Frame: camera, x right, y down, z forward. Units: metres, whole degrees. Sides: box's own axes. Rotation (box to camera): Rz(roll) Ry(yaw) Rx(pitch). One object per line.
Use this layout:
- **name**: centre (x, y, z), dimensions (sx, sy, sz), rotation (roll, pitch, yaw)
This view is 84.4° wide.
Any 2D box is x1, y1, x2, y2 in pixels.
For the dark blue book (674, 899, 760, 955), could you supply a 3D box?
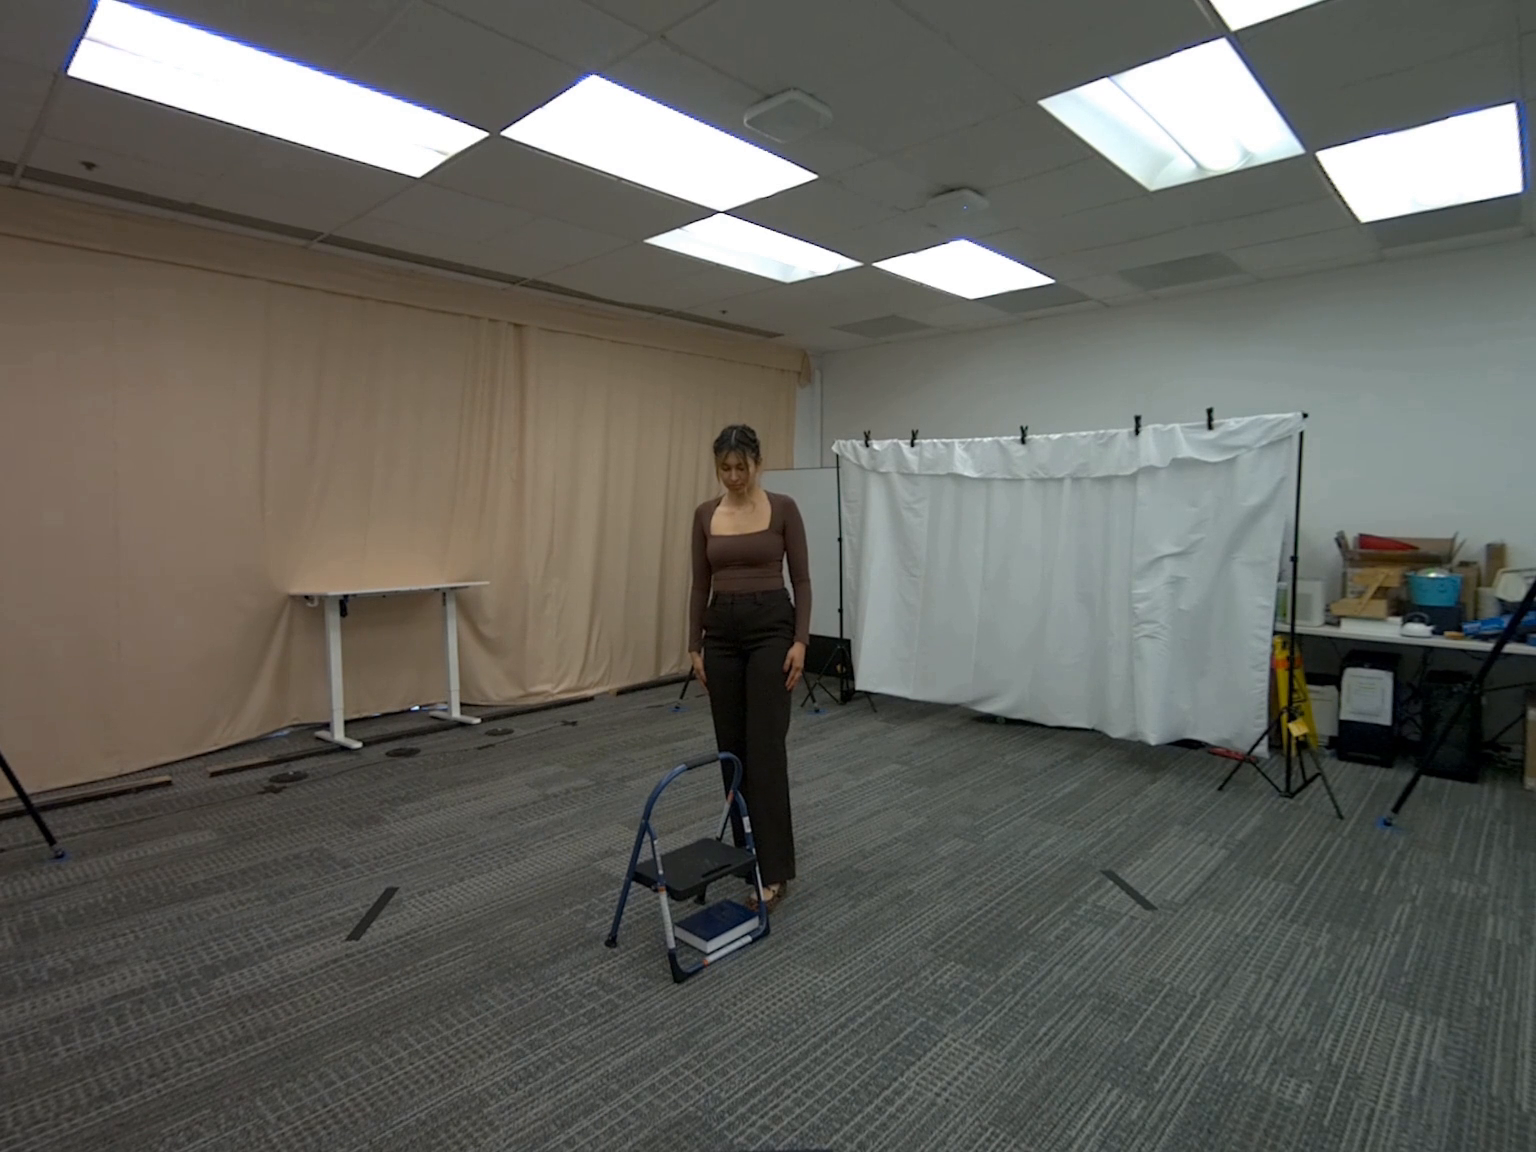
- **dark blue book**: centre (-0.167, 1.140, 2.753), dimensions (0.169, 0.045, 0.238), rotation (4, 7, 43)
